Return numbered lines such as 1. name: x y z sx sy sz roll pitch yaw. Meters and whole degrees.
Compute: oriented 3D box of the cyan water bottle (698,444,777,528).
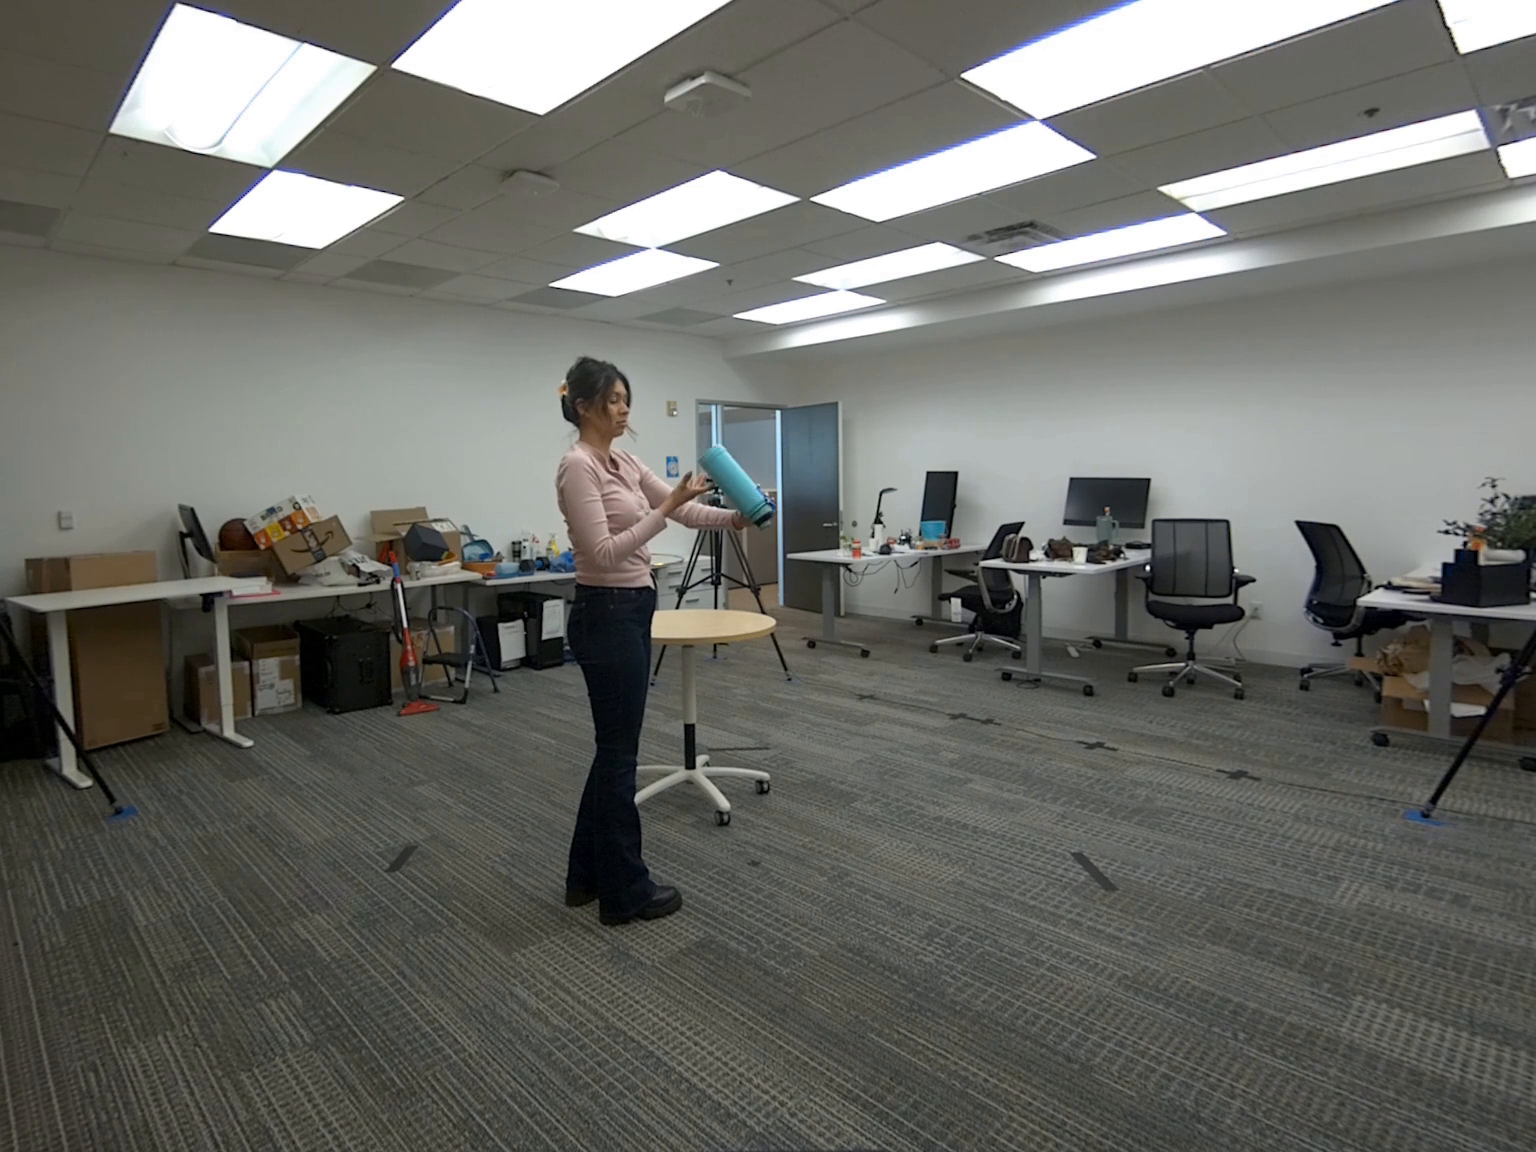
1. cyan water bottle: -0.088 -0.261 2.556 0.092 0.286 0.091 -40 -6 -6
